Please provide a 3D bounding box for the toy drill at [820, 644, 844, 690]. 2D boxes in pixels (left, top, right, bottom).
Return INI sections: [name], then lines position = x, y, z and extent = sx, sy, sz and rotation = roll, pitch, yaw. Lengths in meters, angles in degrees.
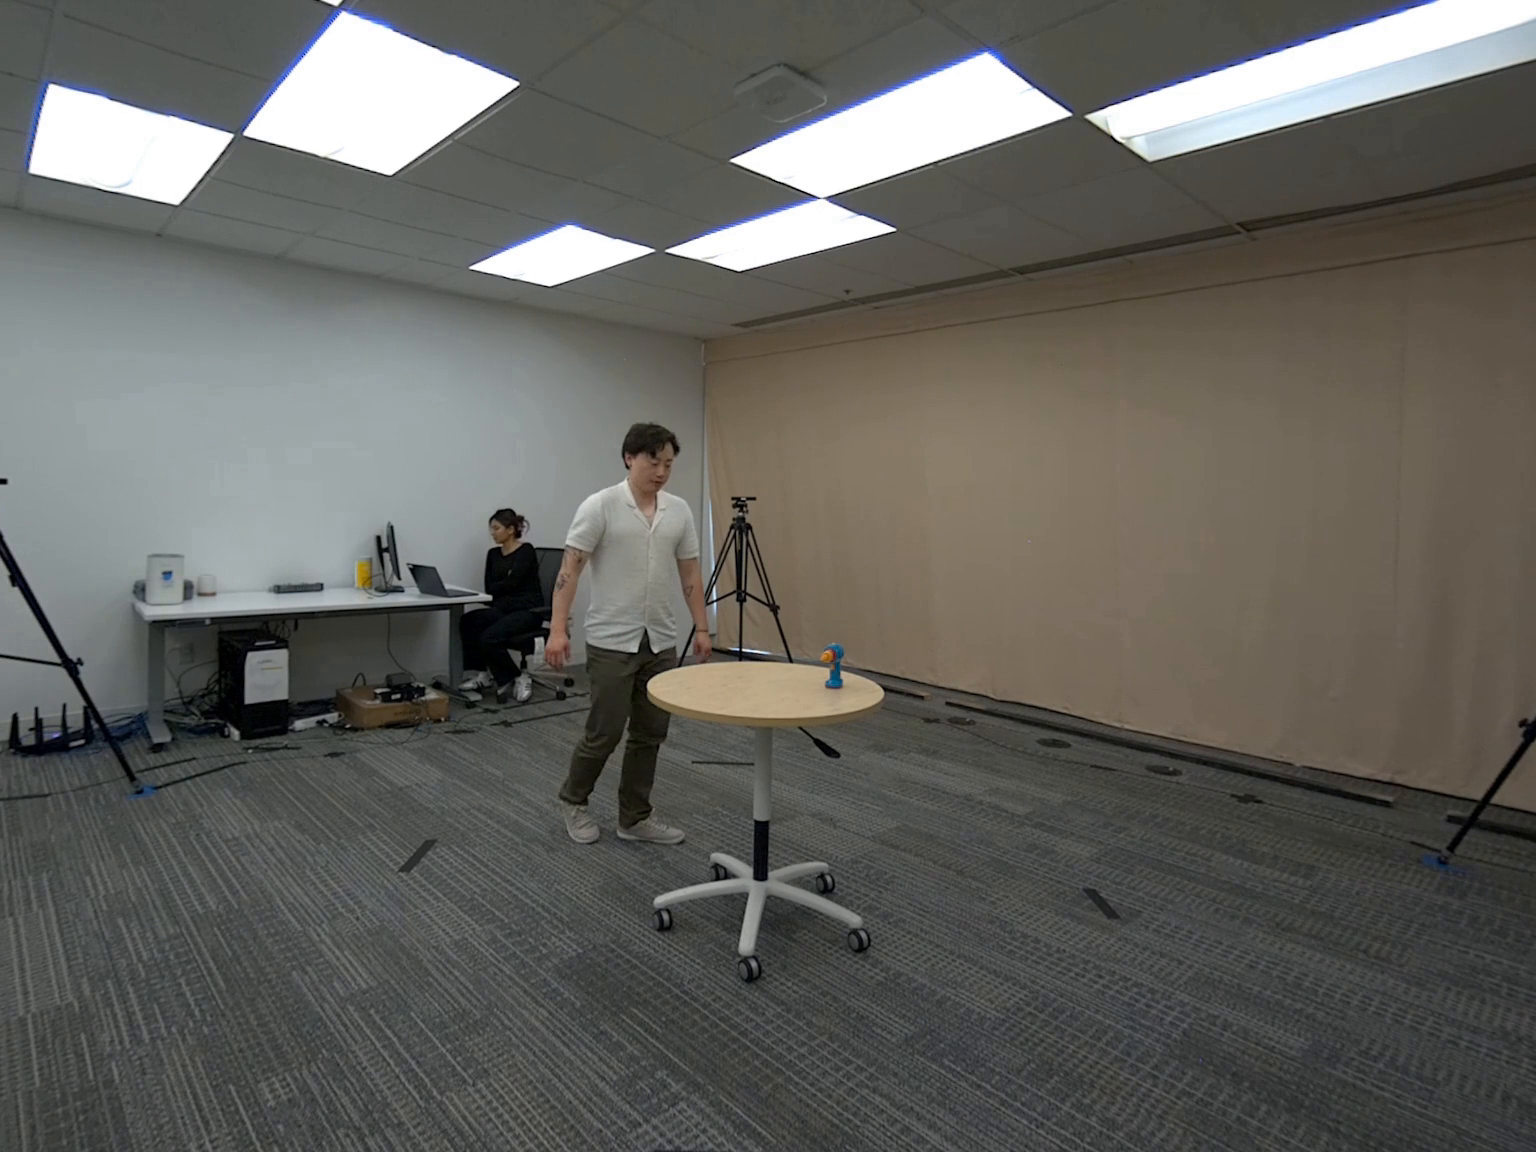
[toy drill]
position = 0.205, 0.295, 2.711
extent = 0.062, 0.146, 0.168
rotation = 0, 4, 18
